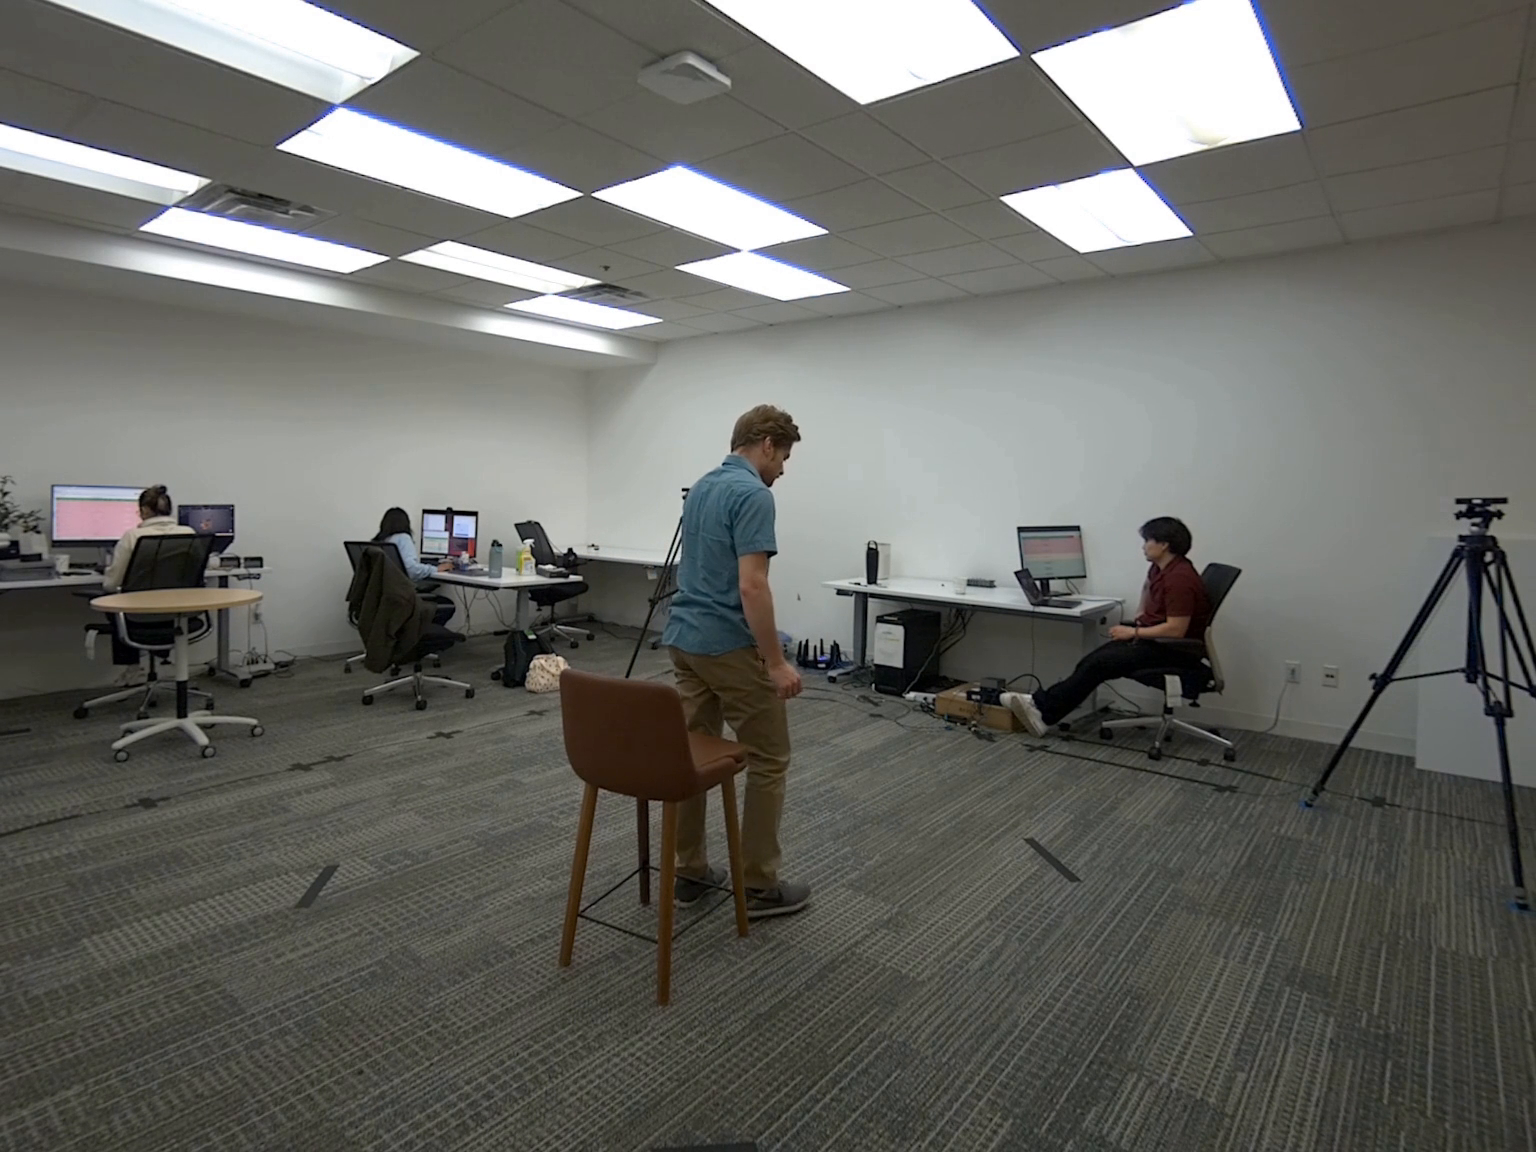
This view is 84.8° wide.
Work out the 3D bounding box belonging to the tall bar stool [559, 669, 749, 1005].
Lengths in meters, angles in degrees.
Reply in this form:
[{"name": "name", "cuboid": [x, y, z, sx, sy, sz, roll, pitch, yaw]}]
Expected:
[{"name": "tall bar stool", "cuboid": [-0.346, 0.684, 2.546, 0.470, 0.886, 0.456, 2, 6, 30]}]
